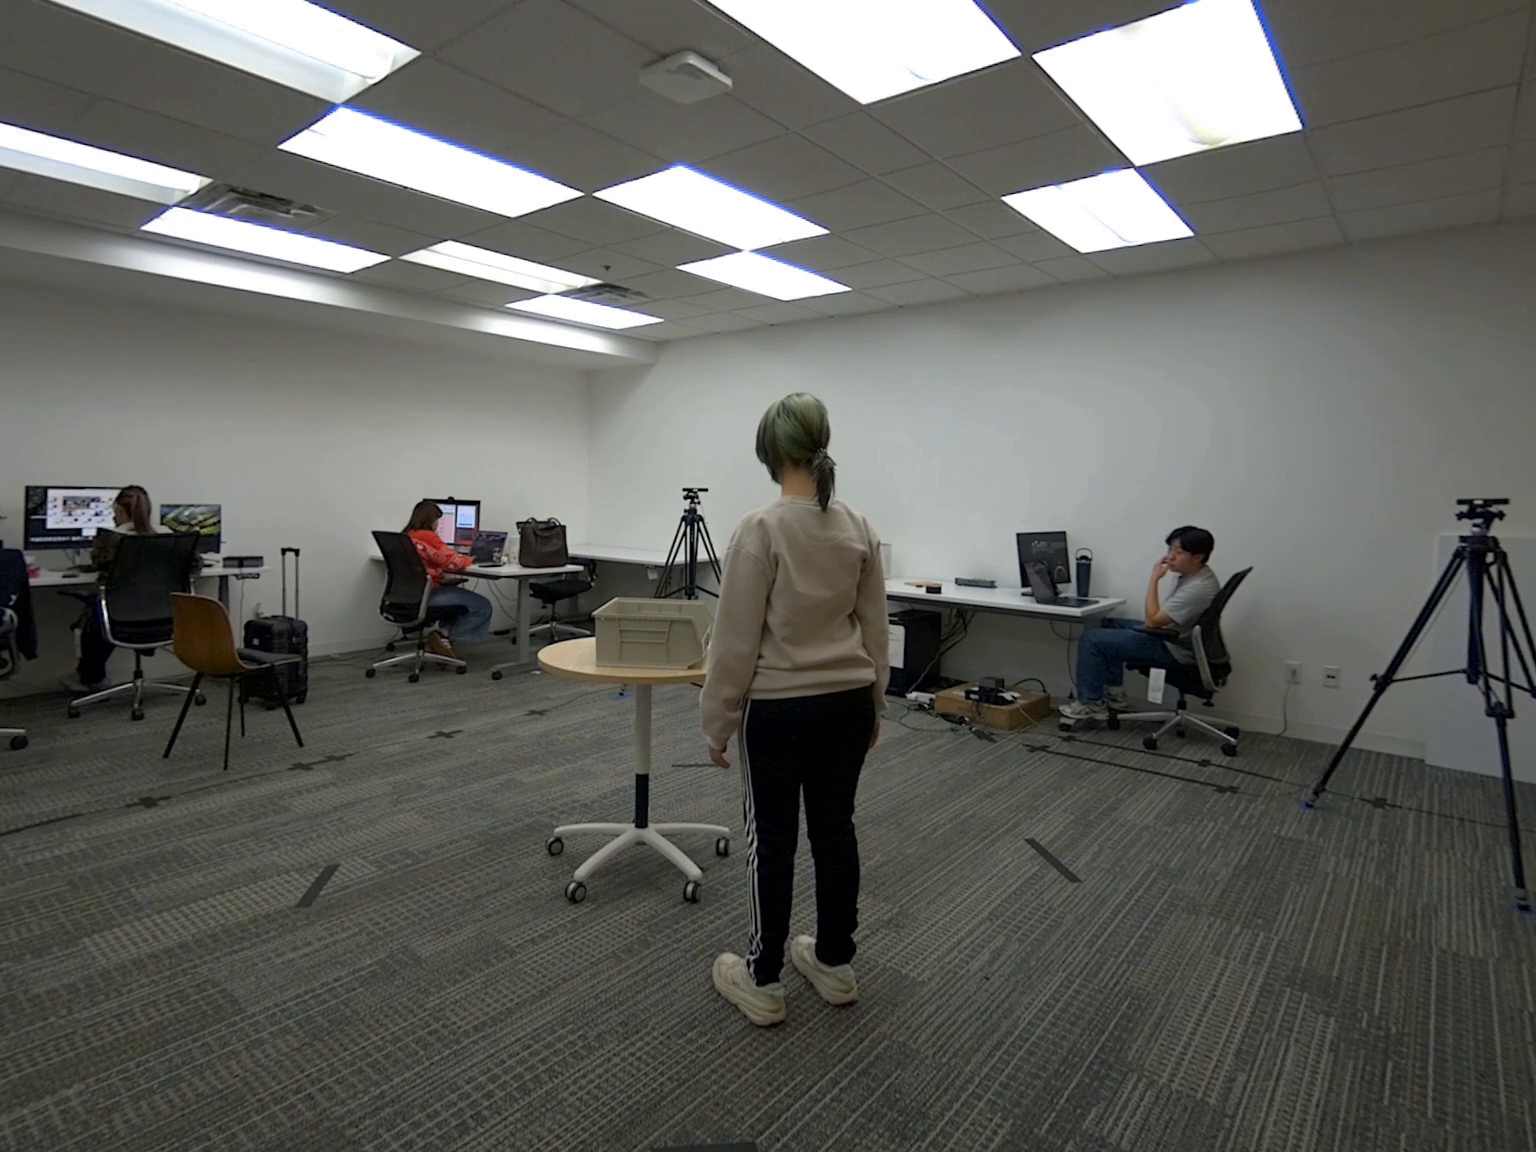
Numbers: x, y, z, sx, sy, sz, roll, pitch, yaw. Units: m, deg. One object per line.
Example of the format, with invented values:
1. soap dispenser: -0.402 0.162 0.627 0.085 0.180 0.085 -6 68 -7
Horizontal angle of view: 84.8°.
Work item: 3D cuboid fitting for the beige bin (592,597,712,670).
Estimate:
1. beige bin: -0.412 0.195 3.051 0.378 0.188 0.423 -1 6 2
